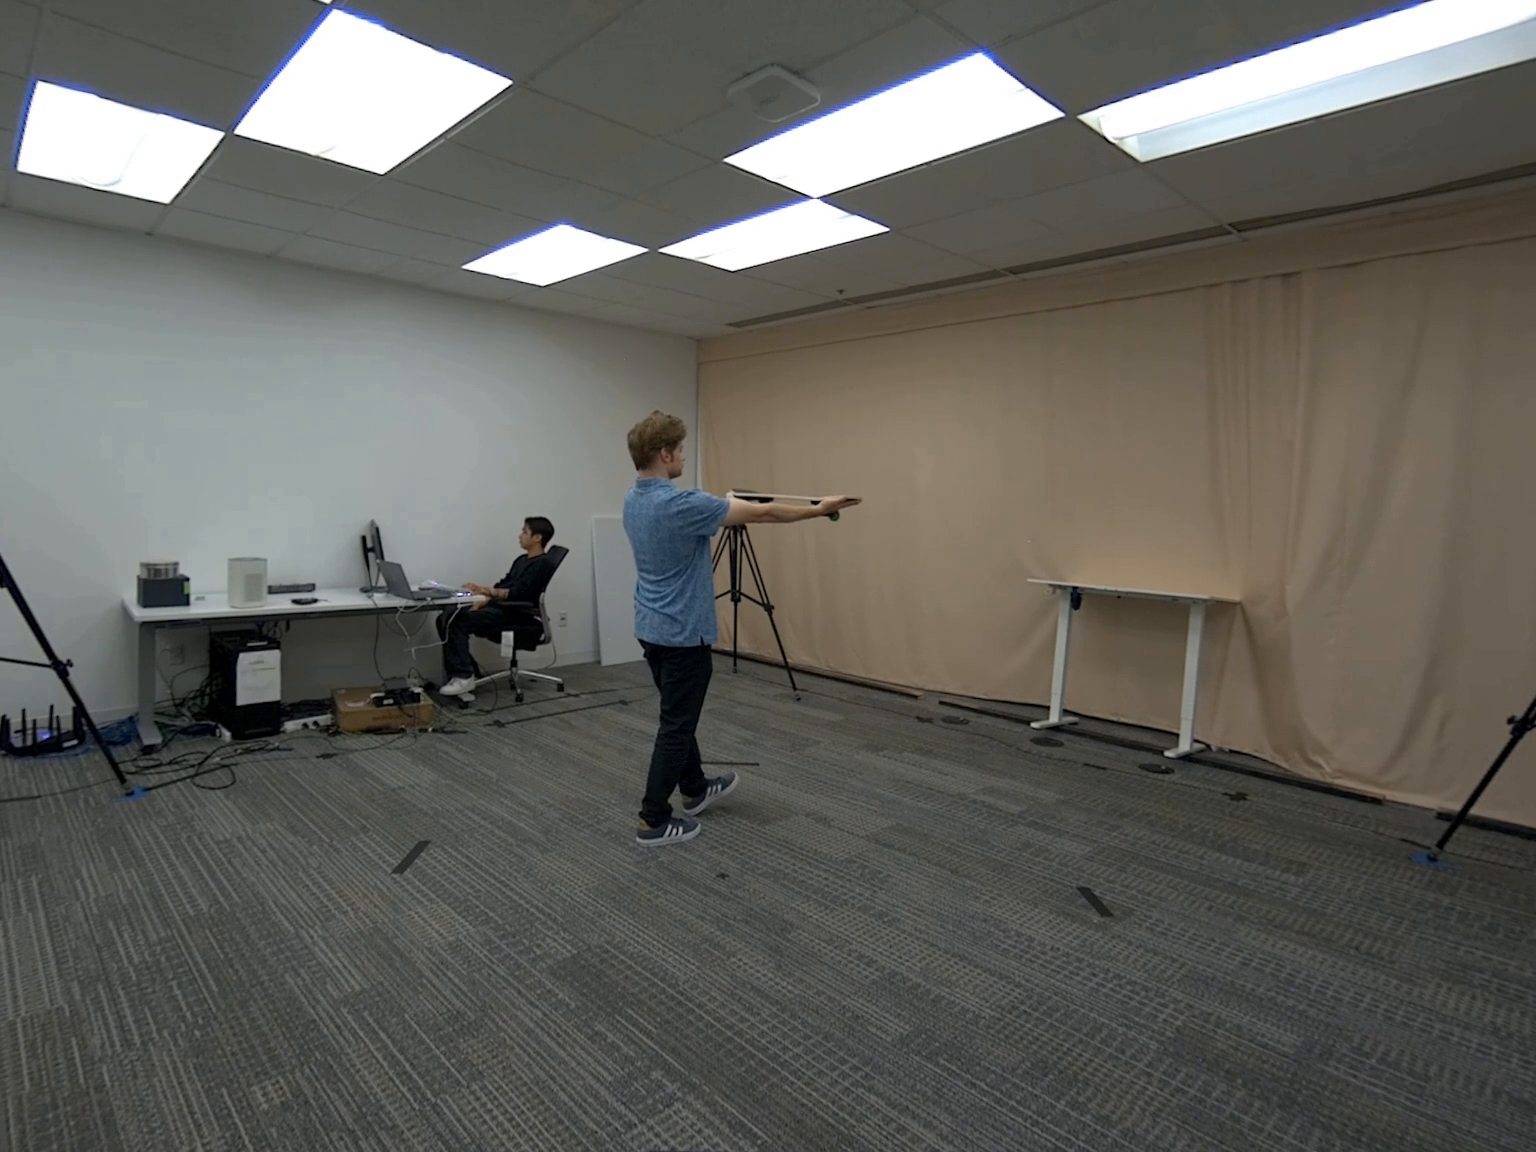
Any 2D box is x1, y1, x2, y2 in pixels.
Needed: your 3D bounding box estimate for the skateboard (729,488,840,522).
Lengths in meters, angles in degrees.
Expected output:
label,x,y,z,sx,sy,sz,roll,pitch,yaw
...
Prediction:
label,x,y,z,sx,sy,sz,roll,pitch,yaw
skateboard,0.091,-0.321,3.737,0.189,0.110,0.806,1,6,-39
